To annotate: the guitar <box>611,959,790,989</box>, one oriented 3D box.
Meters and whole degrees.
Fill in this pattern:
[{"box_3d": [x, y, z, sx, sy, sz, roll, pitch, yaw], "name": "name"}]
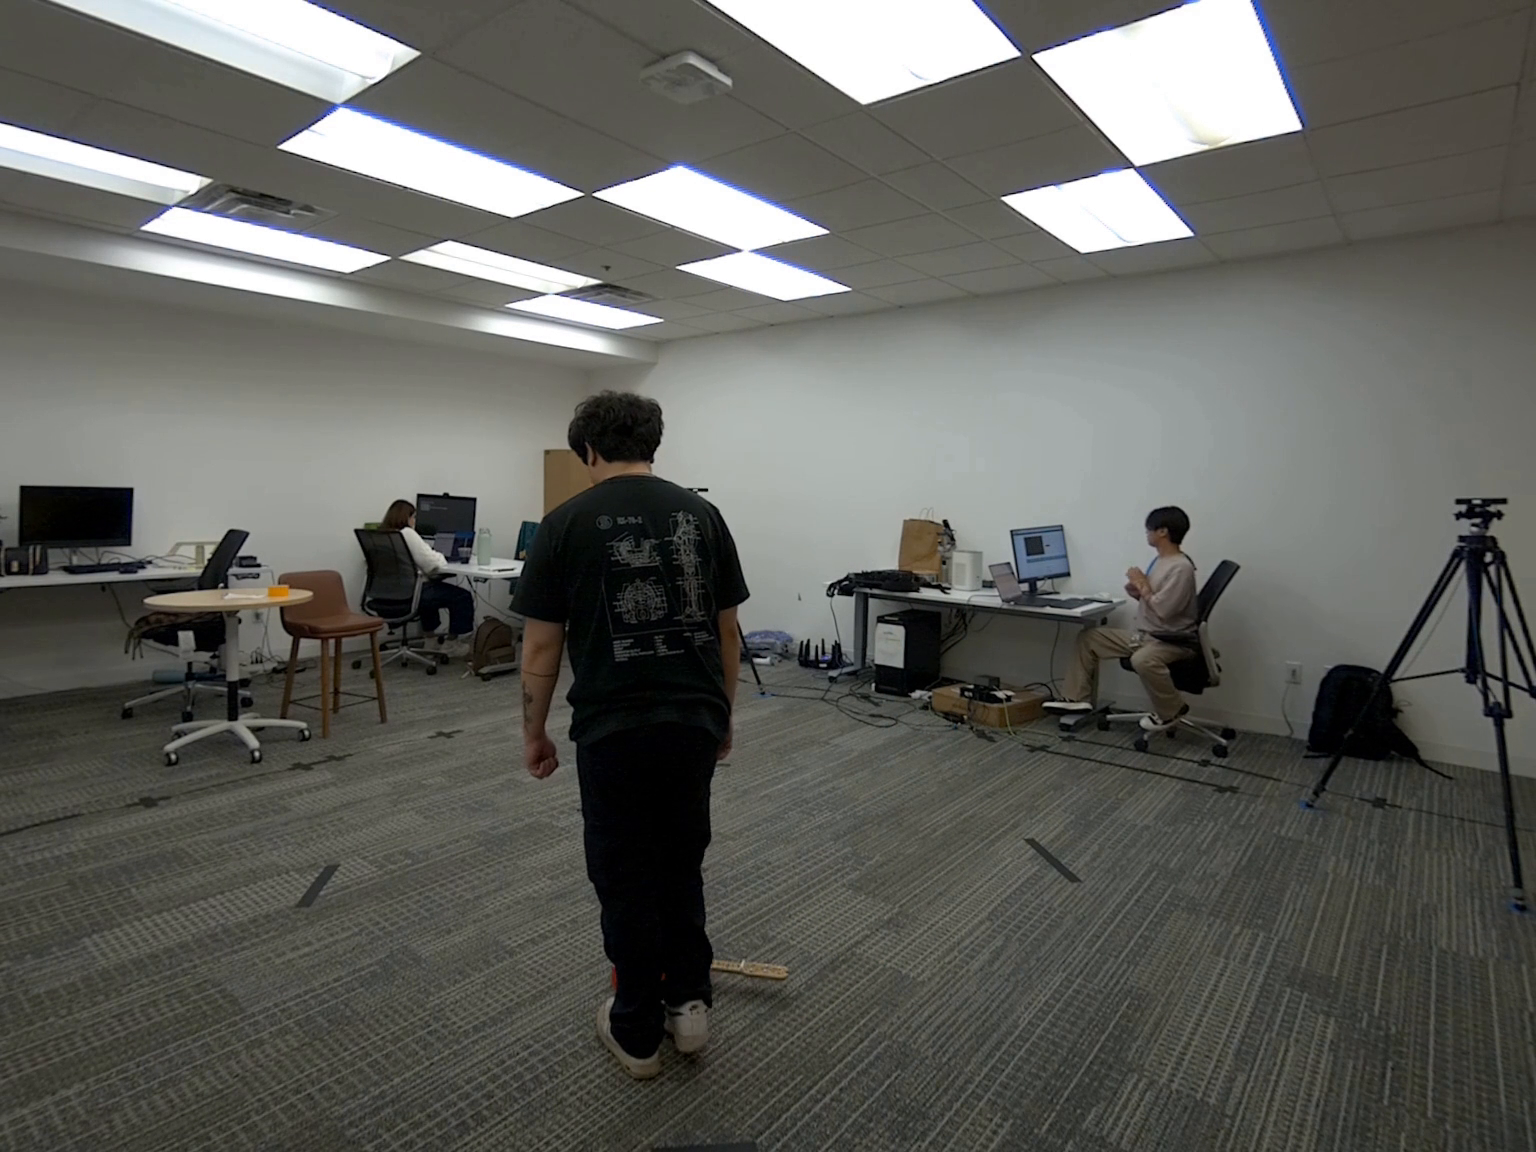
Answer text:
[{"box_3d": [-0.204, 1.108, 2.362, 0.508, 0.070, 0.189, 3, 5, 20], "name": "guitar"}]
